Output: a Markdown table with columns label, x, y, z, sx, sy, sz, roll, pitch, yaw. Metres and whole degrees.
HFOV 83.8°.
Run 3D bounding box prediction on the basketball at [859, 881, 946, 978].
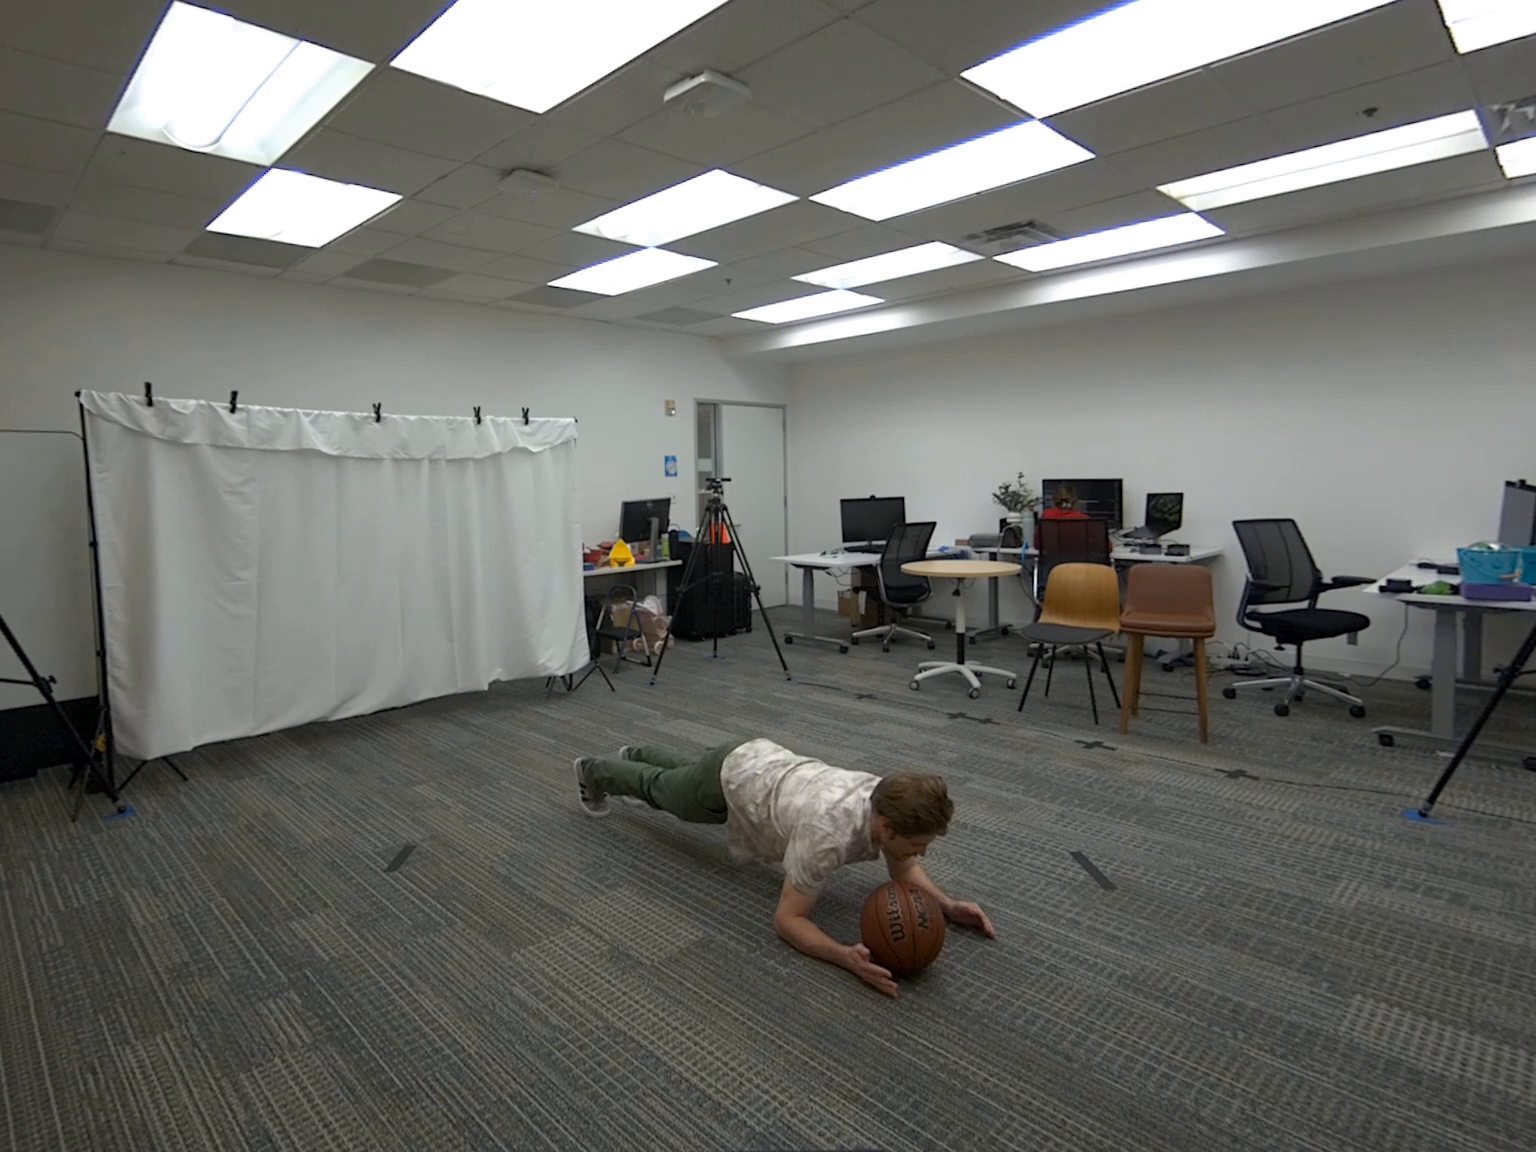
| label | x | y | z | sx | sy | sz | roll | pitch | yaw |
| --- | --- | --- | --- | --- | --- | --- | --- | --- | --- |
| basketball | 0.388 | 0.993 | 2.425 | 0.236 | 0.235 | 0.237 | -1 | 5 | -2 |
